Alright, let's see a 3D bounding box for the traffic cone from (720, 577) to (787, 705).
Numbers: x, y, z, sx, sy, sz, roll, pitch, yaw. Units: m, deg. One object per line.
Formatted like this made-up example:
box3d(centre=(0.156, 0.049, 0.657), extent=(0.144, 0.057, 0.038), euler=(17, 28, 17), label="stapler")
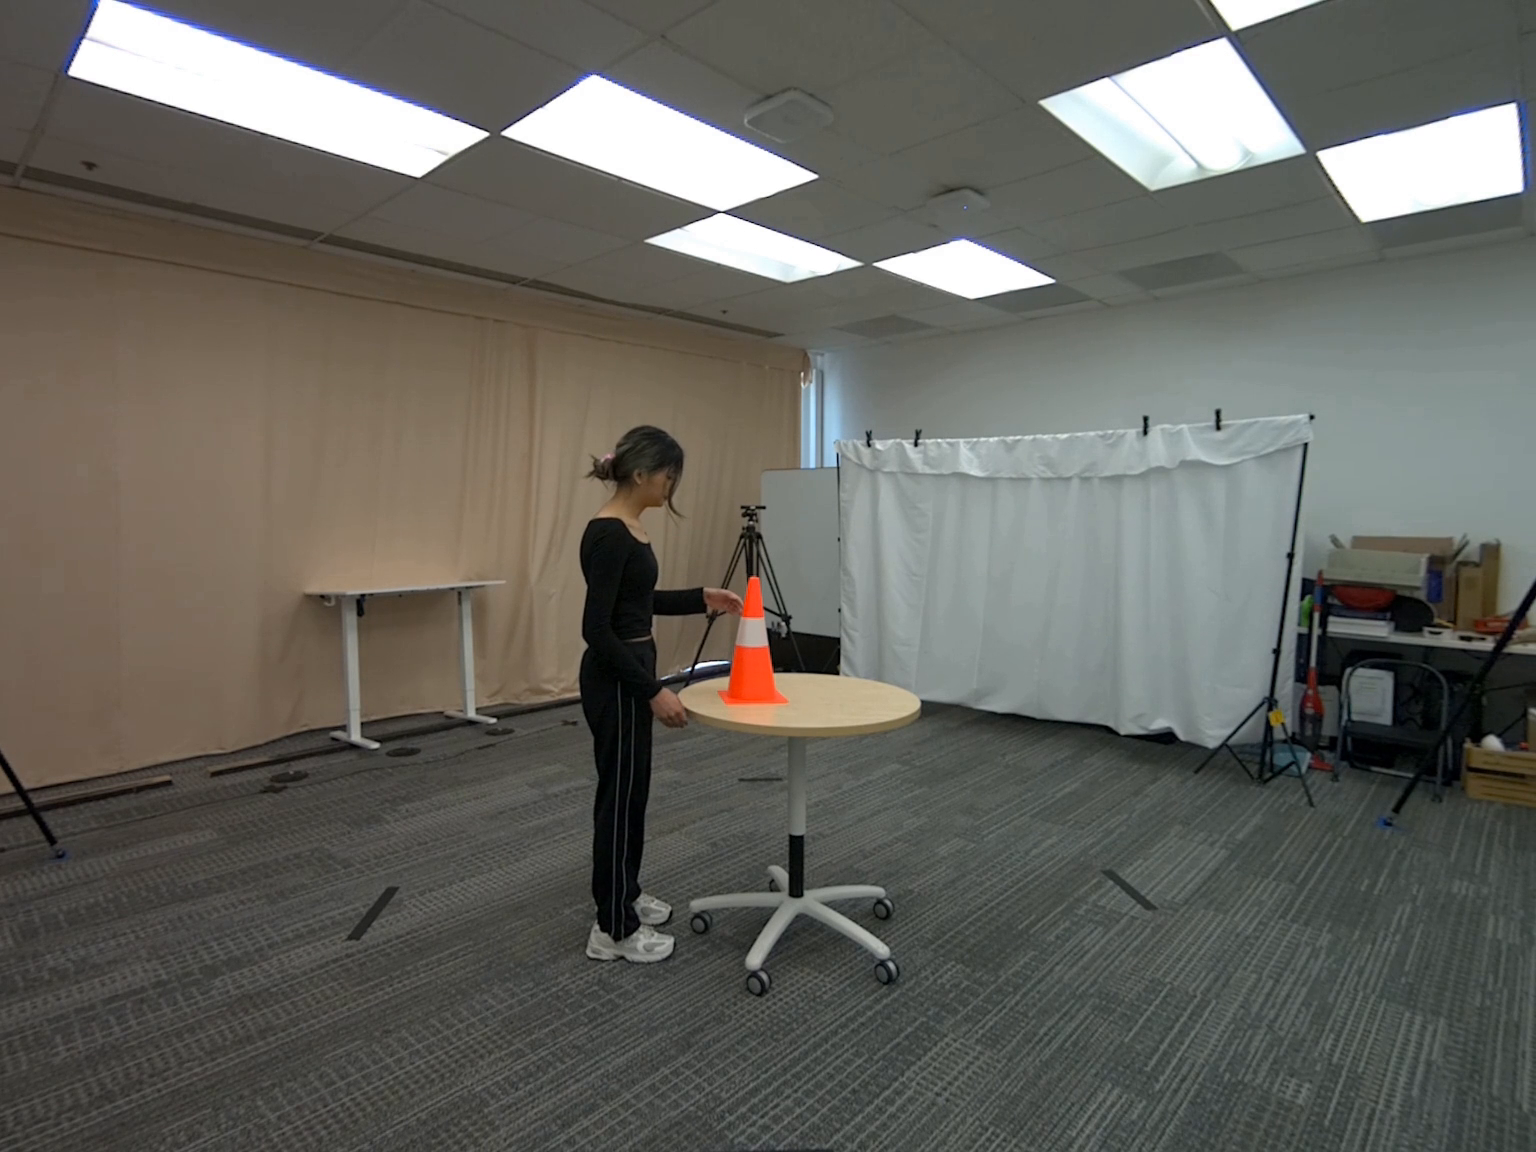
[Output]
box3d(centre=(-0.047, 0.199, 2.655), extent=(0.201, 0.383, 0.208), euler=(0, 3, -12), label="traffic cone")
